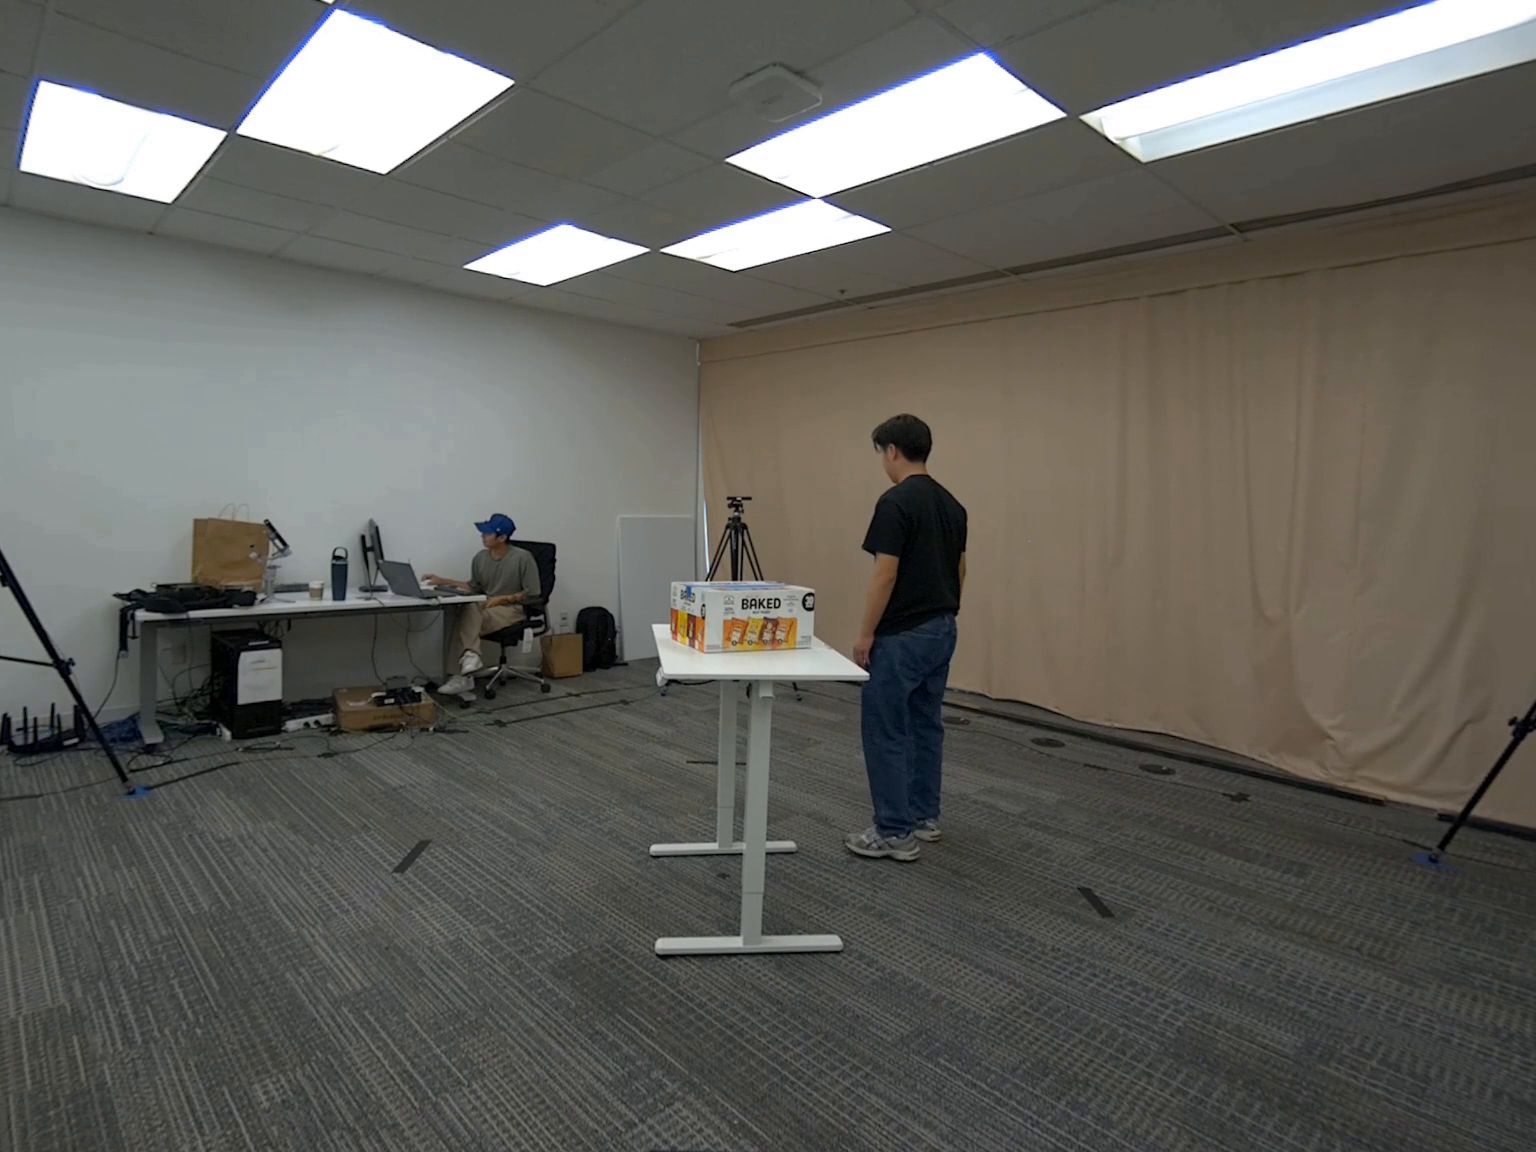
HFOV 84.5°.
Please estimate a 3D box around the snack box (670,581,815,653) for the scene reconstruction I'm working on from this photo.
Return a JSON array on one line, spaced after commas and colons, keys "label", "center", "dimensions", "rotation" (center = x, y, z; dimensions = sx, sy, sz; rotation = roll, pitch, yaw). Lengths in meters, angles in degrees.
[{"label": "snack box", "center": [-0.099, 0.137, 2.956], "dimensions": [0.398, 0.205, 0.347], "rotation": [0, 5, -26]}]
